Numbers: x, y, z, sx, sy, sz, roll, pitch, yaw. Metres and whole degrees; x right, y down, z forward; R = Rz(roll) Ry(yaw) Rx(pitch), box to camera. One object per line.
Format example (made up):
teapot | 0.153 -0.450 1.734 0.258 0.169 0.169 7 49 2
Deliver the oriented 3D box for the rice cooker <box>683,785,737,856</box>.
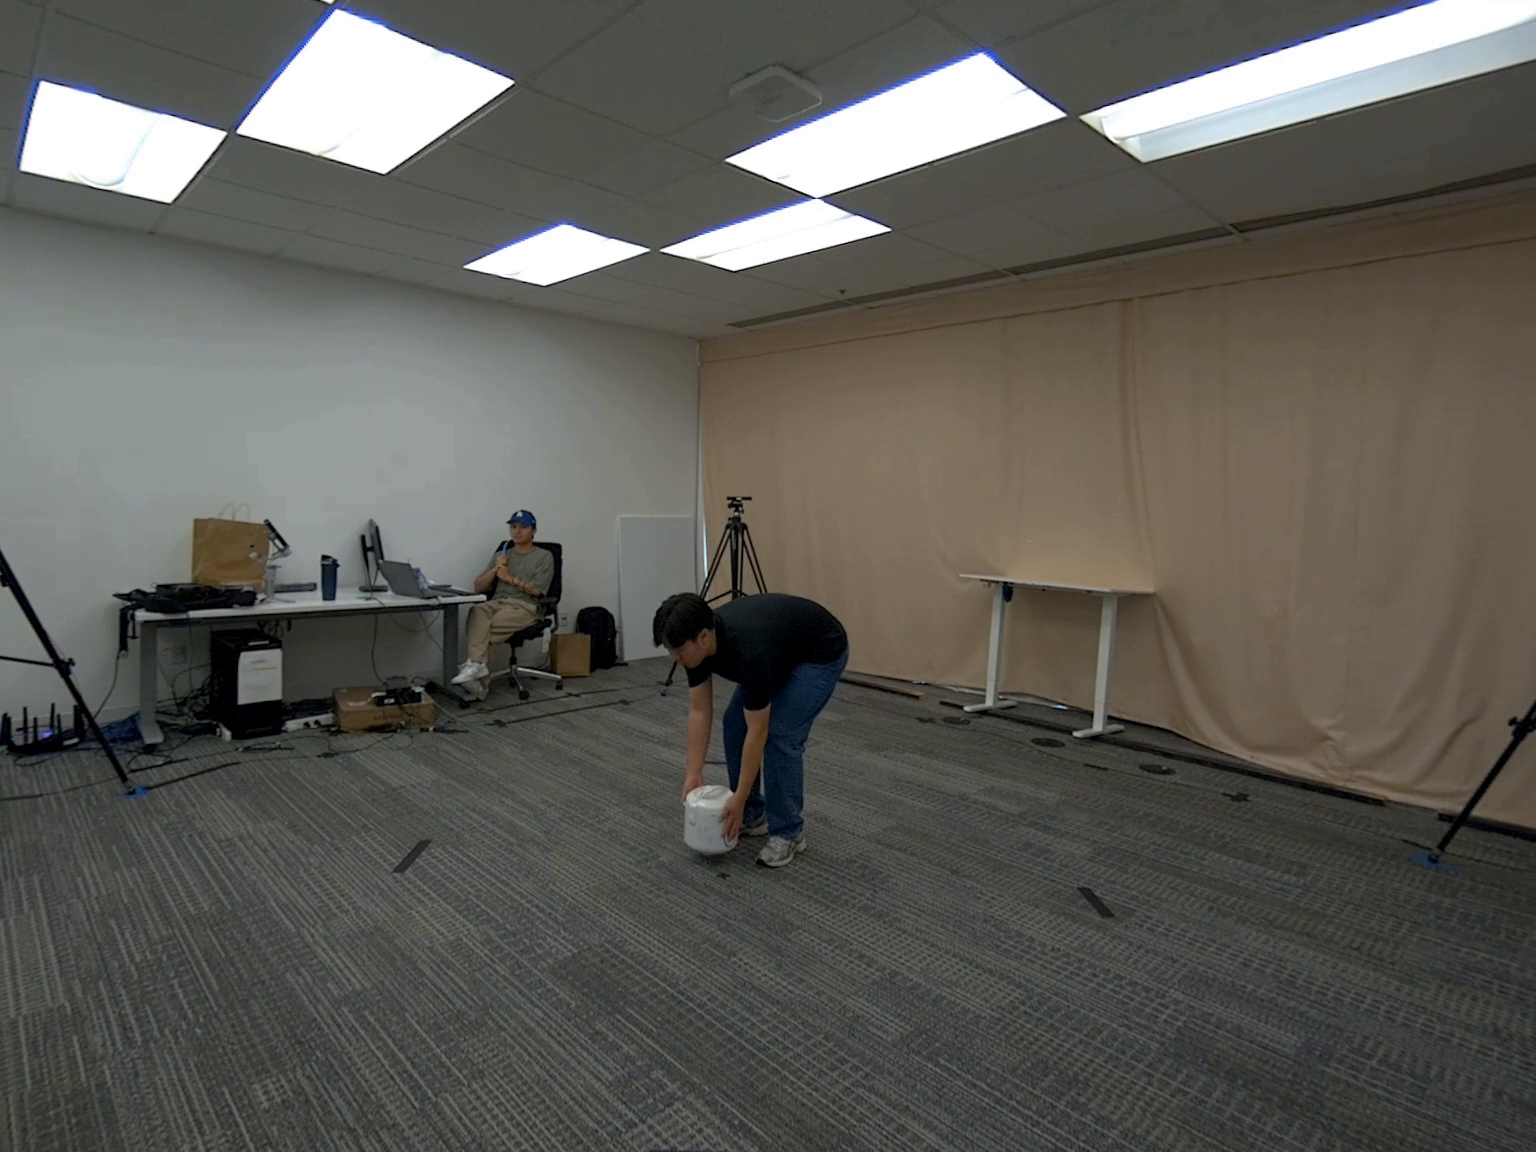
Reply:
rice cooker | -0.222 0.907 3.228 0.215 0.232 0.223 -1 4 -42
